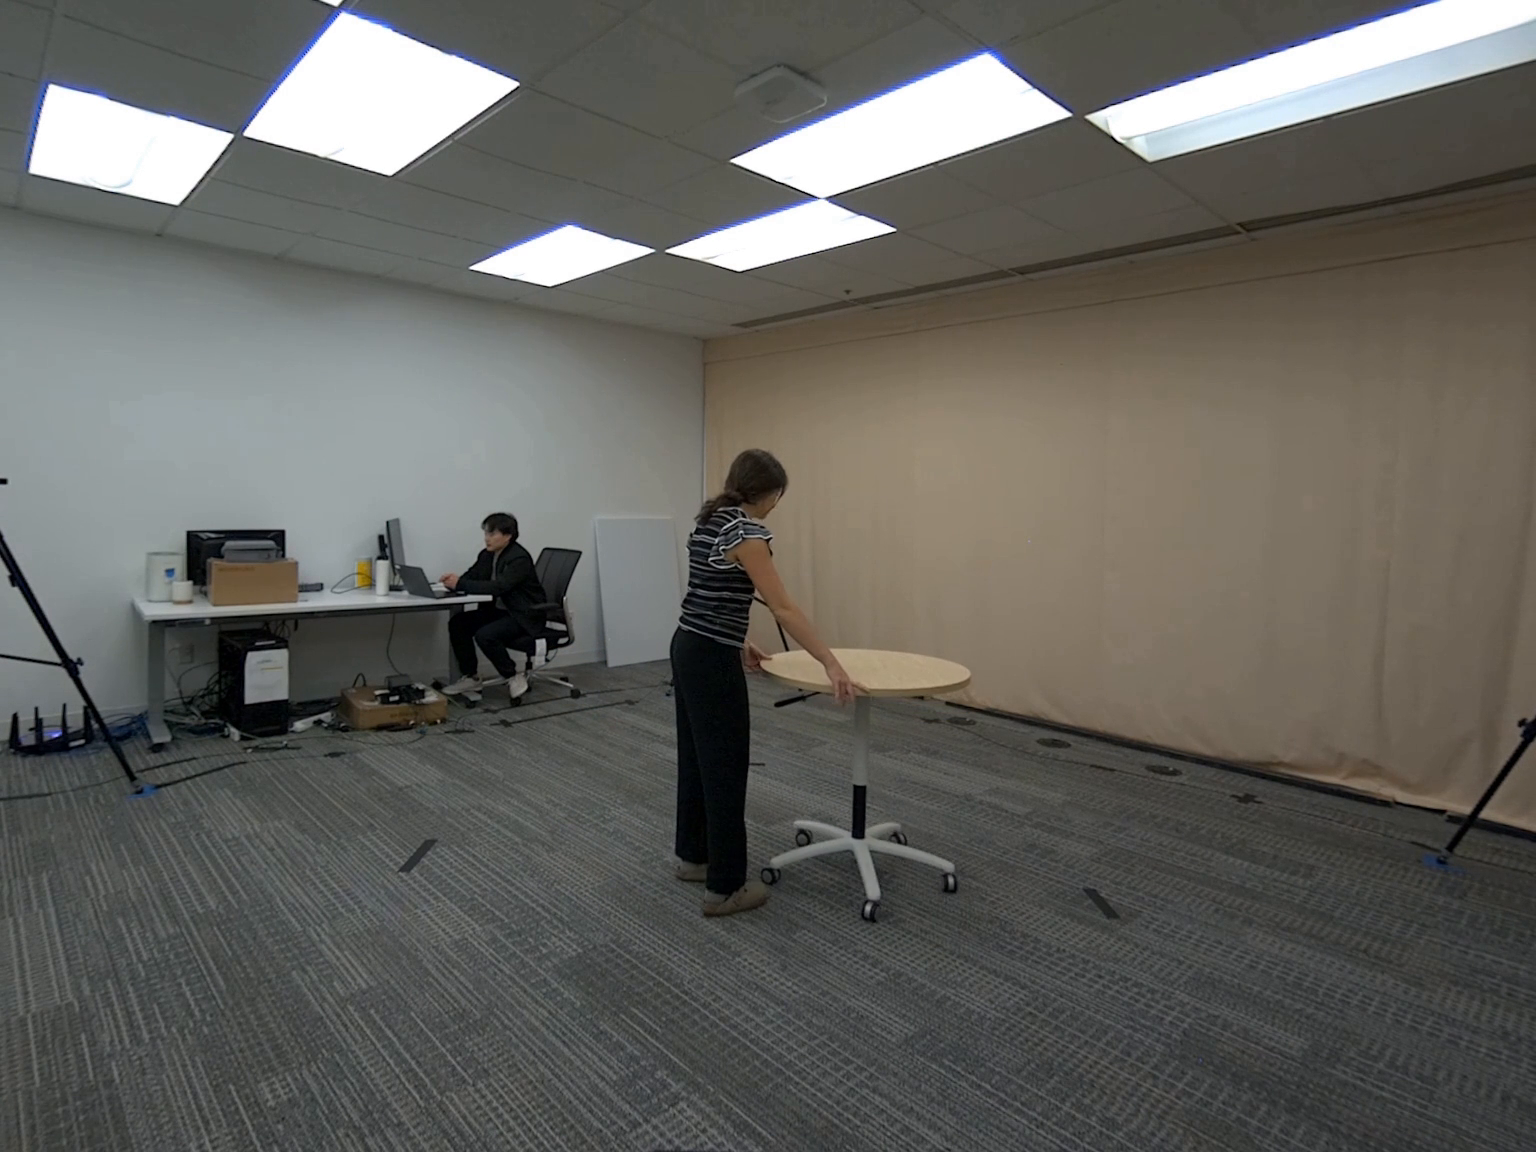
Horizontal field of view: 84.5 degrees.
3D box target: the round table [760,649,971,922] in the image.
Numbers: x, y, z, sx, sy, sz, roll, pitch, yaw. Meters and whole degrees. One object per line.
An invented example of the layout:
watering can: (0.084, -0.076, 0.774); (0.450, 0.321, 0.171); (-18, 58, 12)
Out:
round table: (0.323, 0.720, 3.124); (0.784, 0.785, 0.787); (2, 3, -1)
